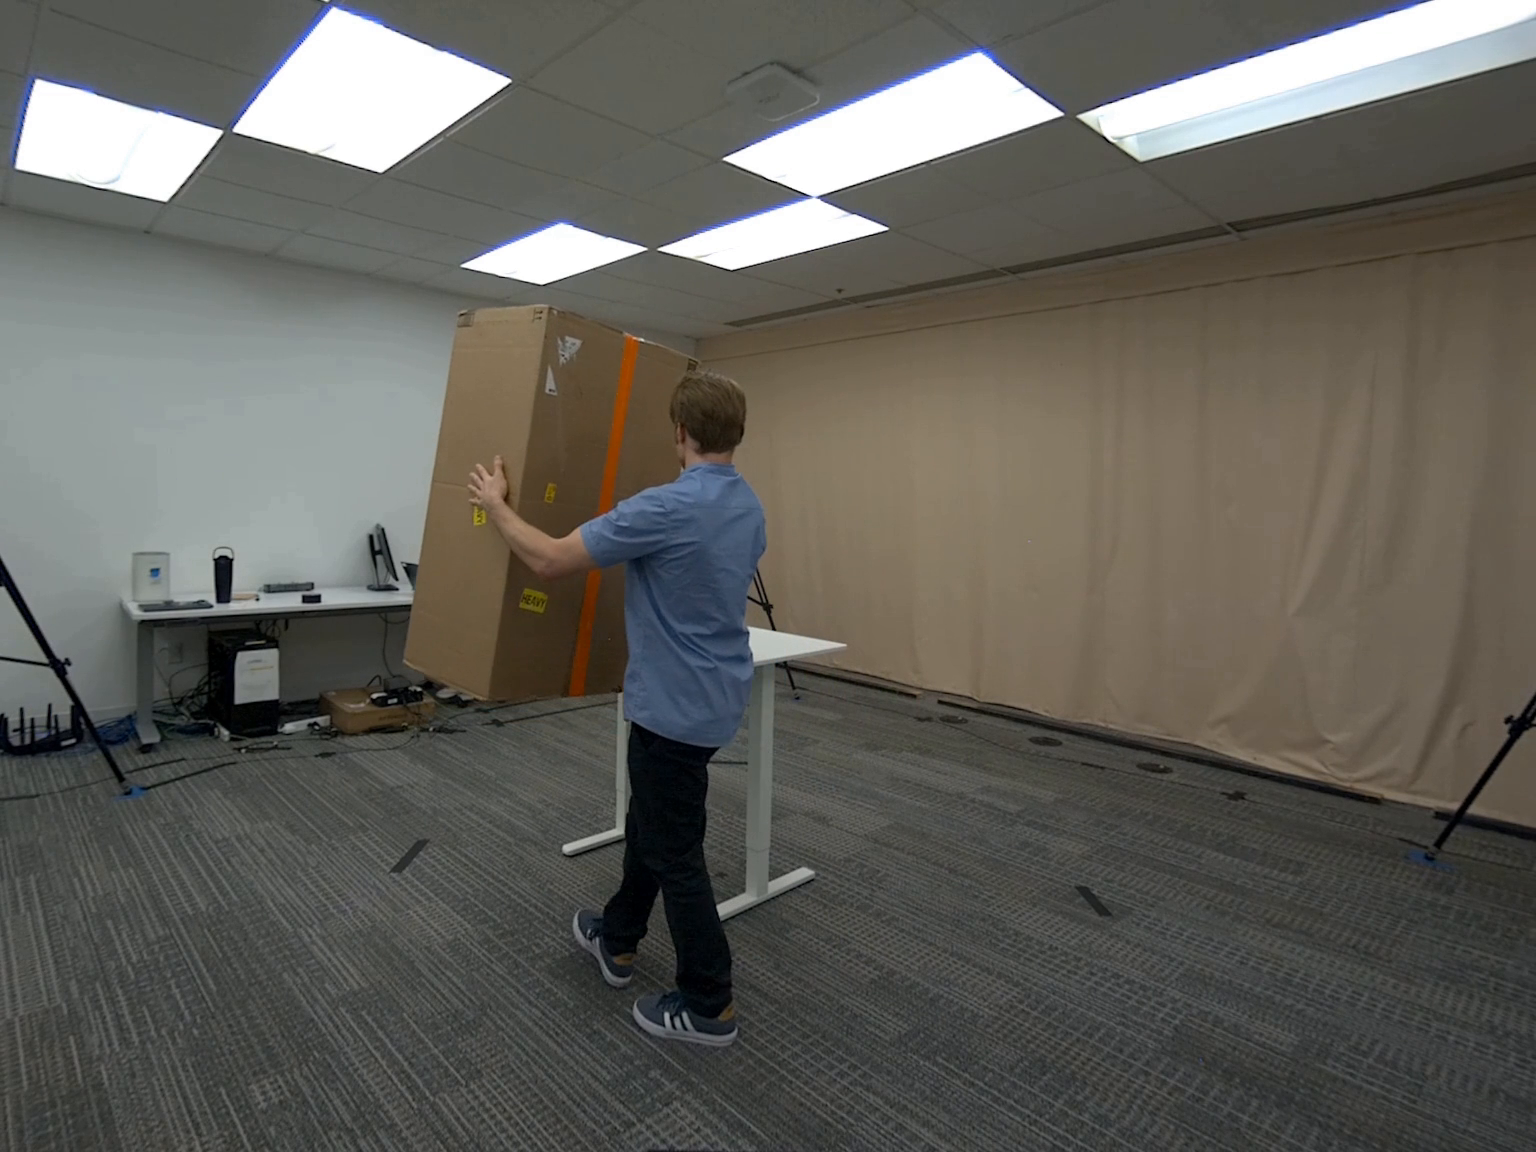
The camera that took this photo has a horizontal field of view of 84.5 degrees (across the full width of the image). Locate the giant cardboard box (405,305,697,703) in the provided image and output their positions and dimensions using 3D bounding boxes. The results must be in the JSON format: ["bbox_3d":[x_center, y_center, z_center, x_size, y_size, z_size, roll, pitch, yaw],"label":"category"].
[{"bbox_3d":[-0.629,-0.200,2.470,0.438,1.025,0.562,11,2,39],"label":"giant cardboard box"}]
